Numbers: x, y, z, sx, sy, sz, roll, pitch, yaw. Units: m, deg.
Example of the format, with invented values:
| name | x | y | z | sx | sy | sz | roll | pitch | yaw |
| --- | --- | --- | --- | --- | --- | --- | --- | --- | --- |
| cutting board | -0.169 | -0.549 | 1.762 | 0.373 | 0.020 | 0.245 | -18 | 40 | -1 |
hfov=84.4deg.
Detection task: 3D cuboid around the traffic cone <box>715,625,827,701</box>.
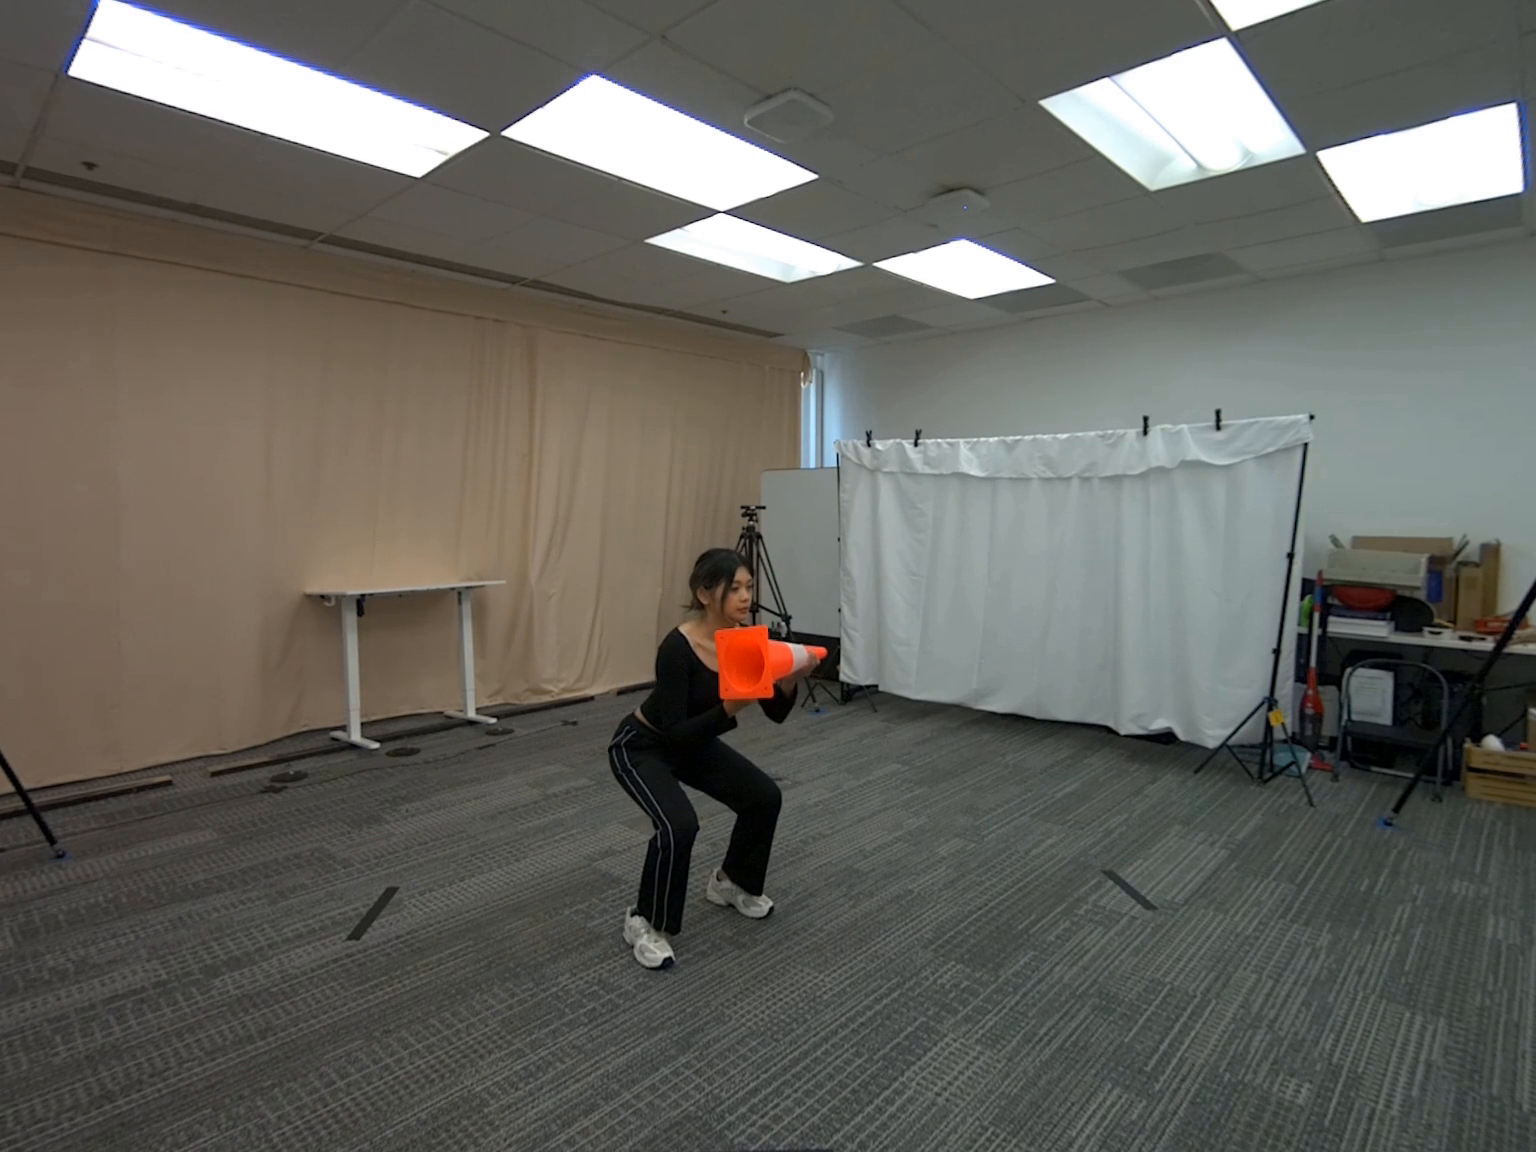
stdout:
| name | x | y | z | sx | sy | sz | roll | pitch | yaw |
| --- | --- | --- | --- | --- | --- | --- | --- | --- | --- |
| traffic cone | 0.050 | 0.243 | 2.522 | 0.209 | 0.206 | 0.371 | -13 | -8 | 41 |
